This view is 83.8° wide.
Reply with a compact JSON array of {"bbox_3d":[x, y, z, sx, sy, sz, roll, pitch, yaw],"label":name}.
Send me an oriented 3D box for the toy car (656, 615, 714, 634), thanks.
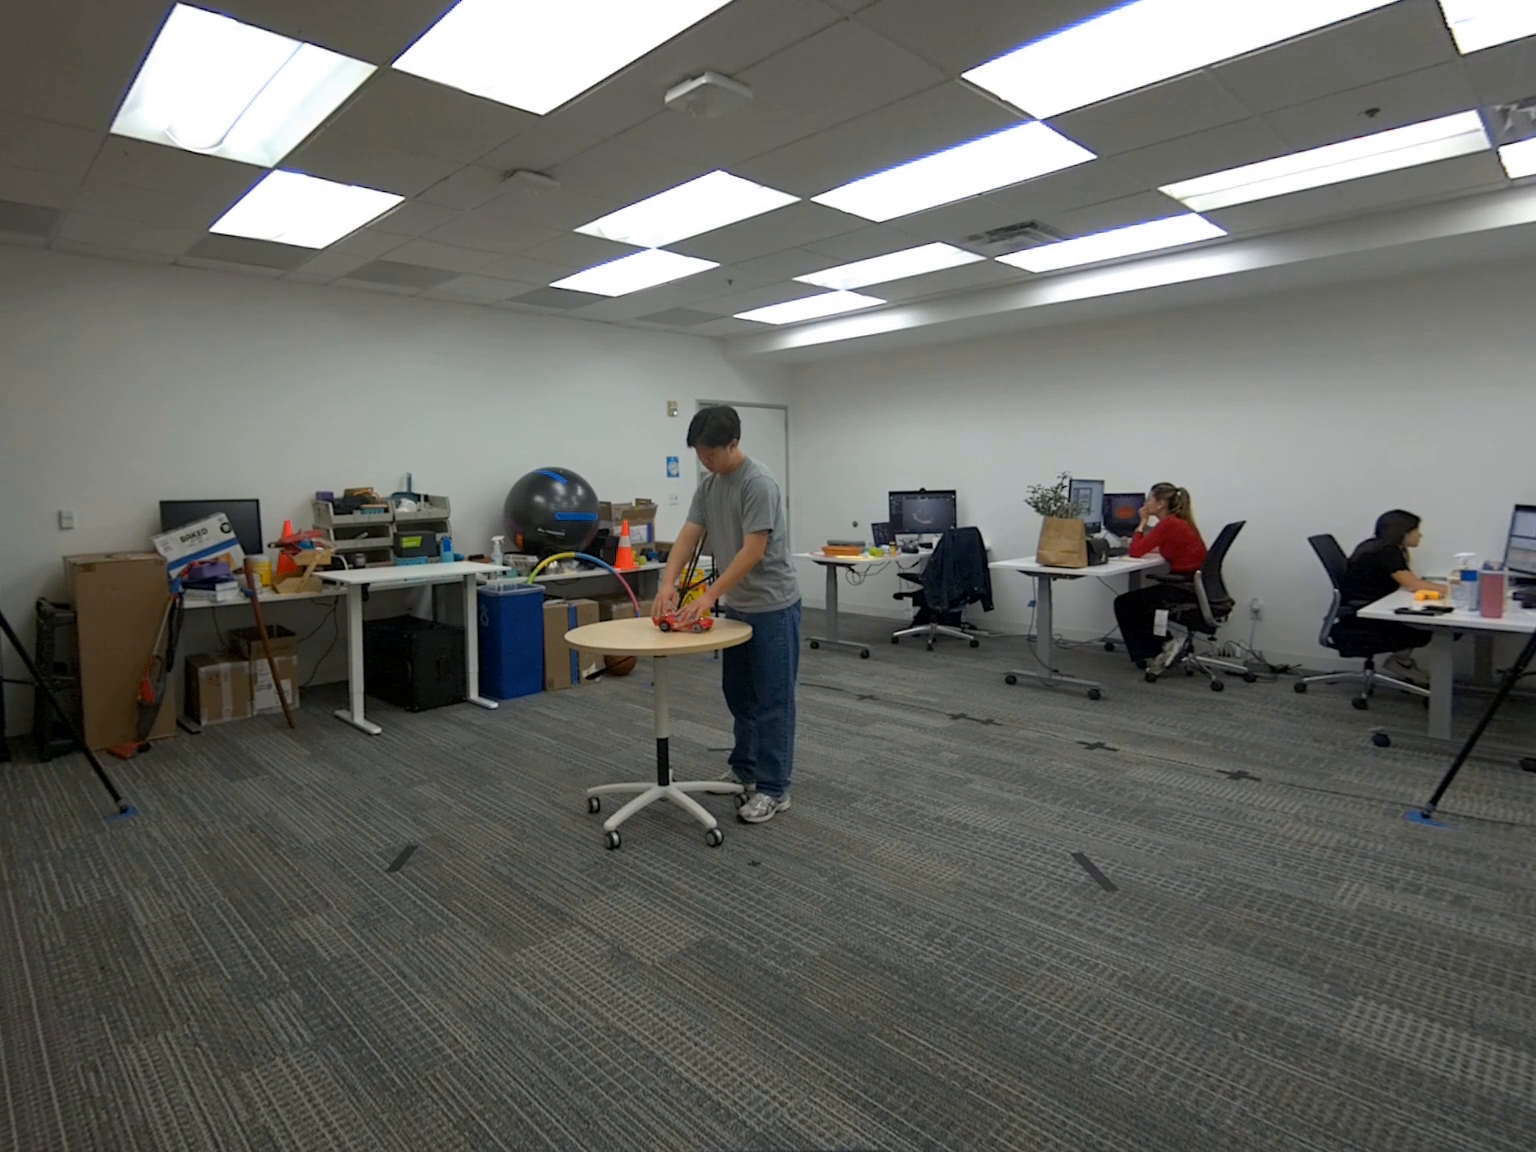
[{"bbox_3d":[-0.361,0.194,3.495,0.260,0.083,0.128,12,8,17],"label":"toy car"}]
